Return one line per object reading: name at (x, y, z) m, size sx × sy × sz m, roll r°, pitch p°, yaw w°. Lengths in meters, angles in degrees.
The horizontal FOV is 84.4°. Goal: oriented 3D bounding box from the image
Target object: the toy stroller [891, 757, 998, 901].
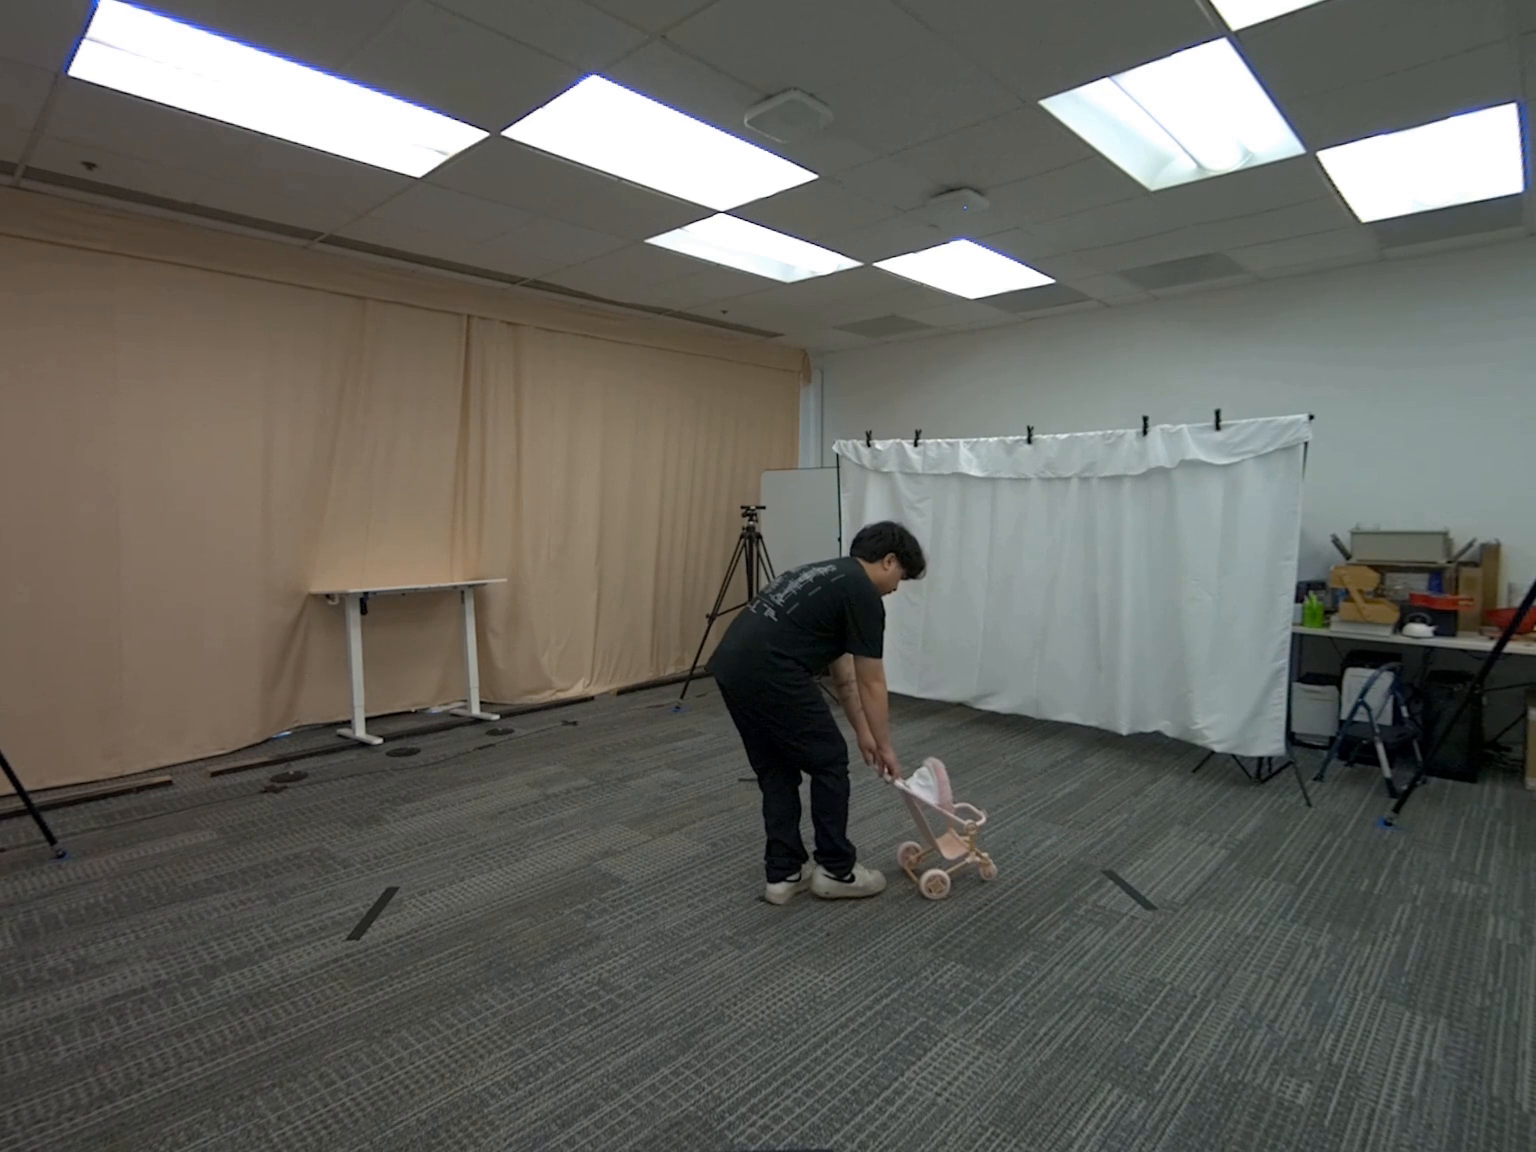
toy stroller at (0.633, 0.911, 3.082) m, size 0.340 × 0.533 × 0.283 m, roll -15°, pitch 5°, yaw -4°
